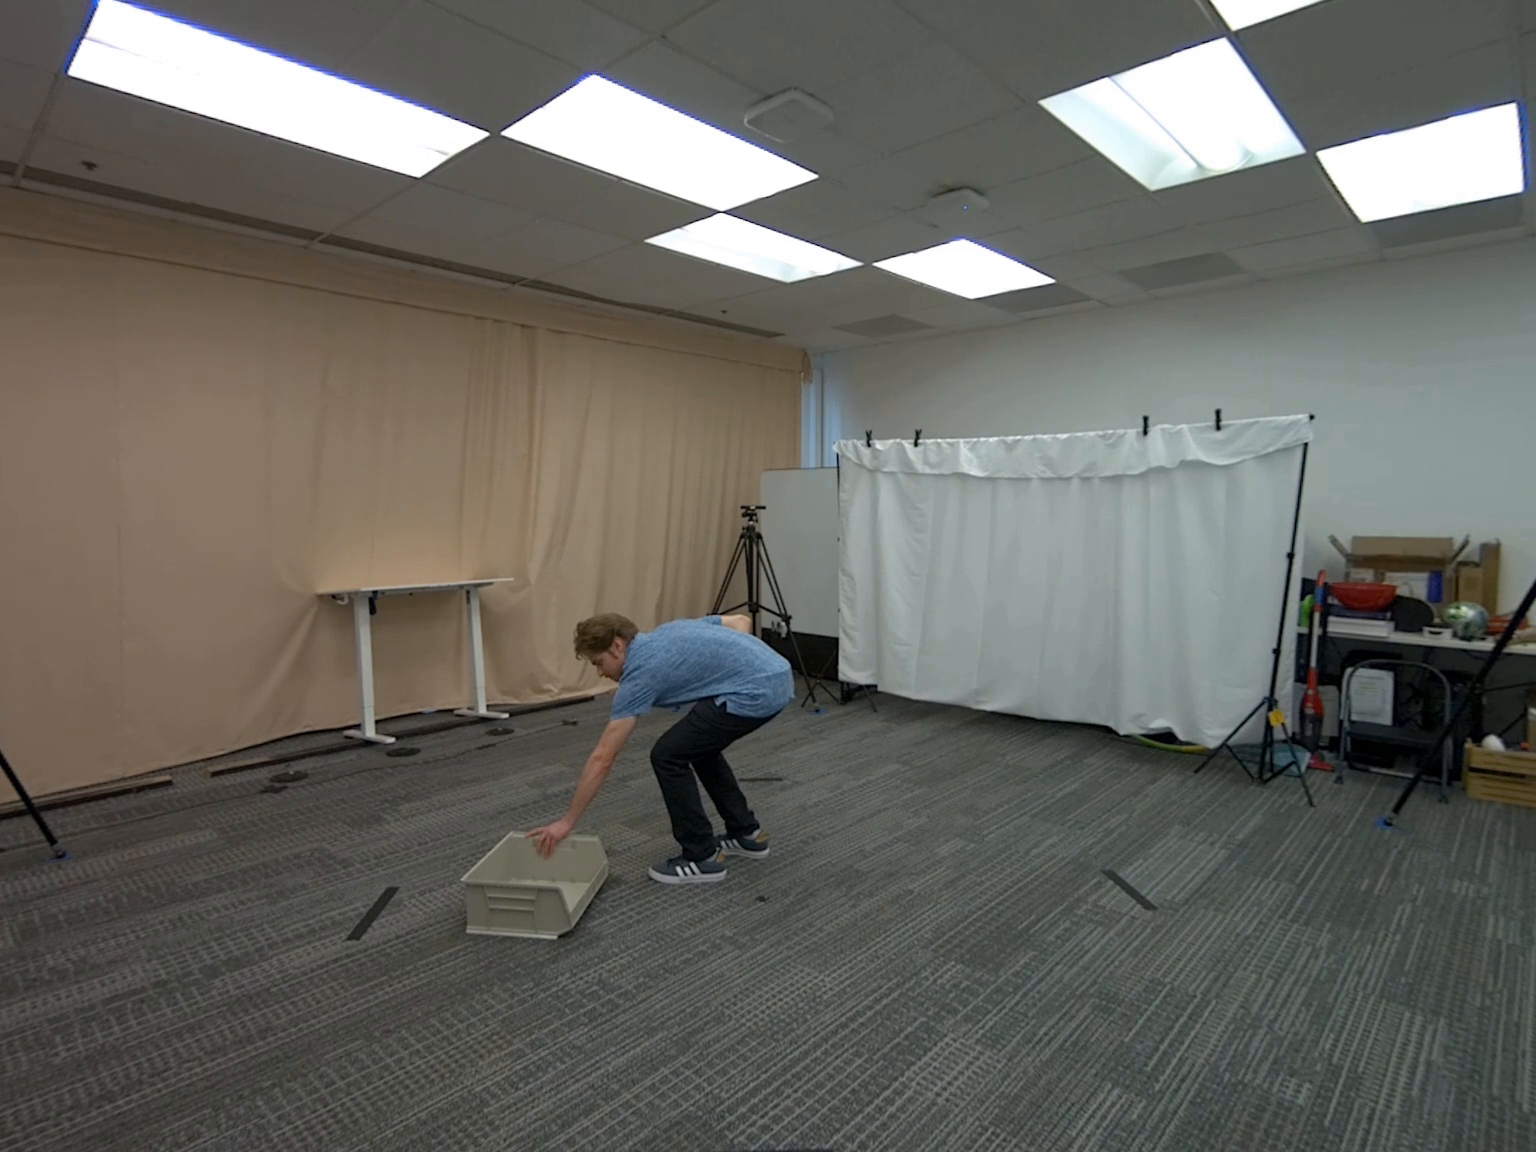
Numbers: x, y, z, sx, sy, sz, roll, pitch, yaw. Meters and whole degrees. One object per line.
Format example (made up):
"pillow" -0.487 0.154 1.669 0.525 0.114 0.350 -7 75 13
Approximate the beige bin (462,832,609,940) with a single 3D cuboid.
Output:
"beige bin" -0.799 1.066 2.929 0.381 0.188 0.420 0 5 7
